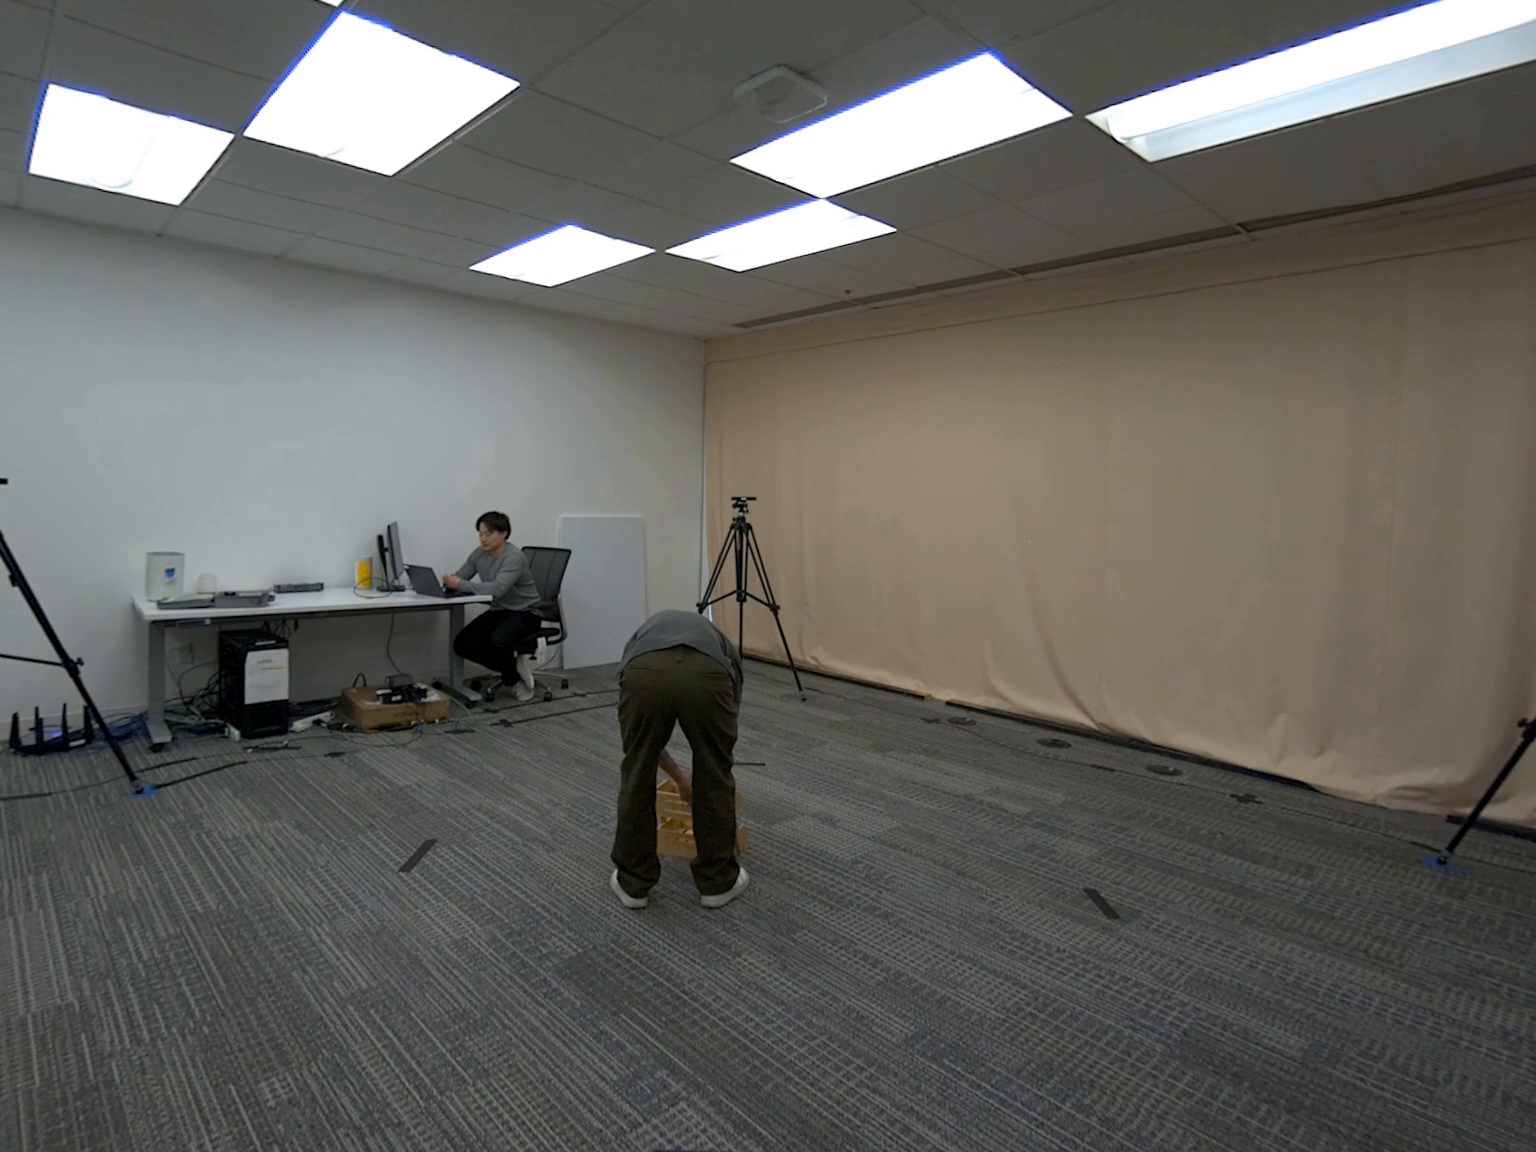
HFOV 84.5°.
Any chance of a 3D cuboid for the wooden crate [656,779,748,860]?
[{"bbox_3d":[-0.272,0.954,3.341,0.329,0.272,0.298,3,4,17],"label":"wooden crate"}]
